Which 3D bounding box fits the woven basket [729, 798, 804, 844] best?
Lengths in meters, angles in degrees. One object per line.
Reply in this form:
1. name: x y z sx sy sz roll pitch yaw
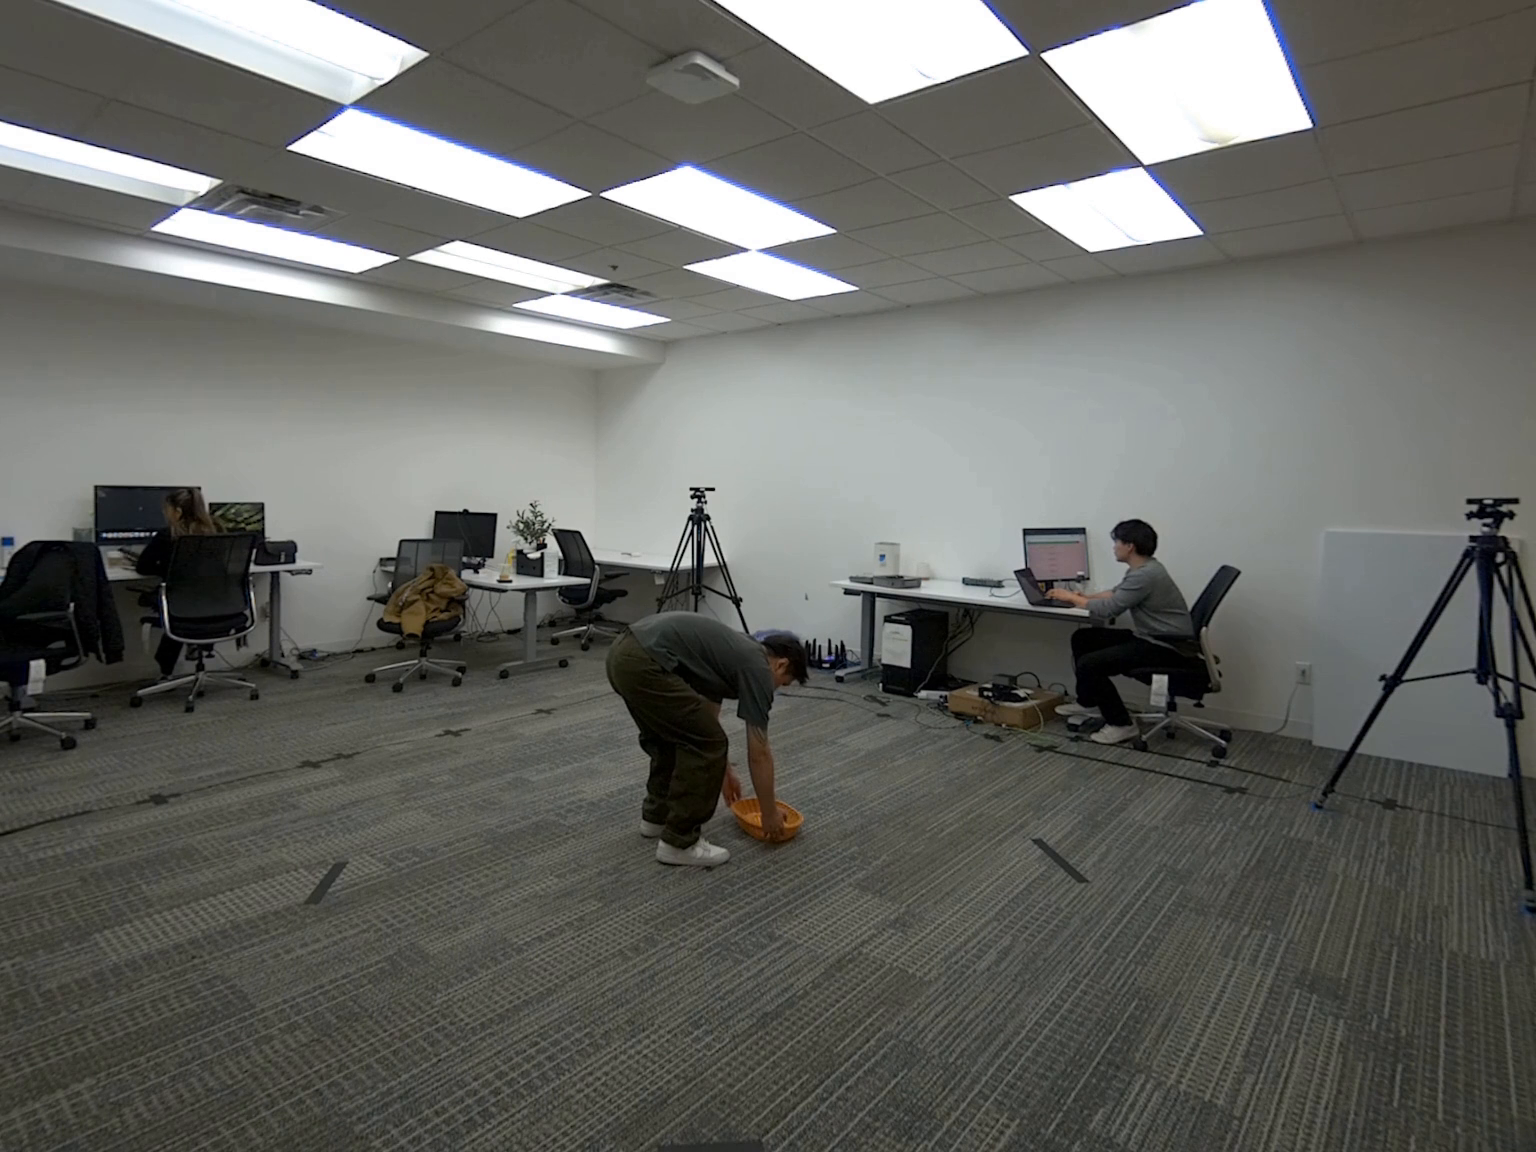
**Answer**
1. woven basket: -0.018 0.989 3.480 0.246 0.073 0.361 -2 6 -30
